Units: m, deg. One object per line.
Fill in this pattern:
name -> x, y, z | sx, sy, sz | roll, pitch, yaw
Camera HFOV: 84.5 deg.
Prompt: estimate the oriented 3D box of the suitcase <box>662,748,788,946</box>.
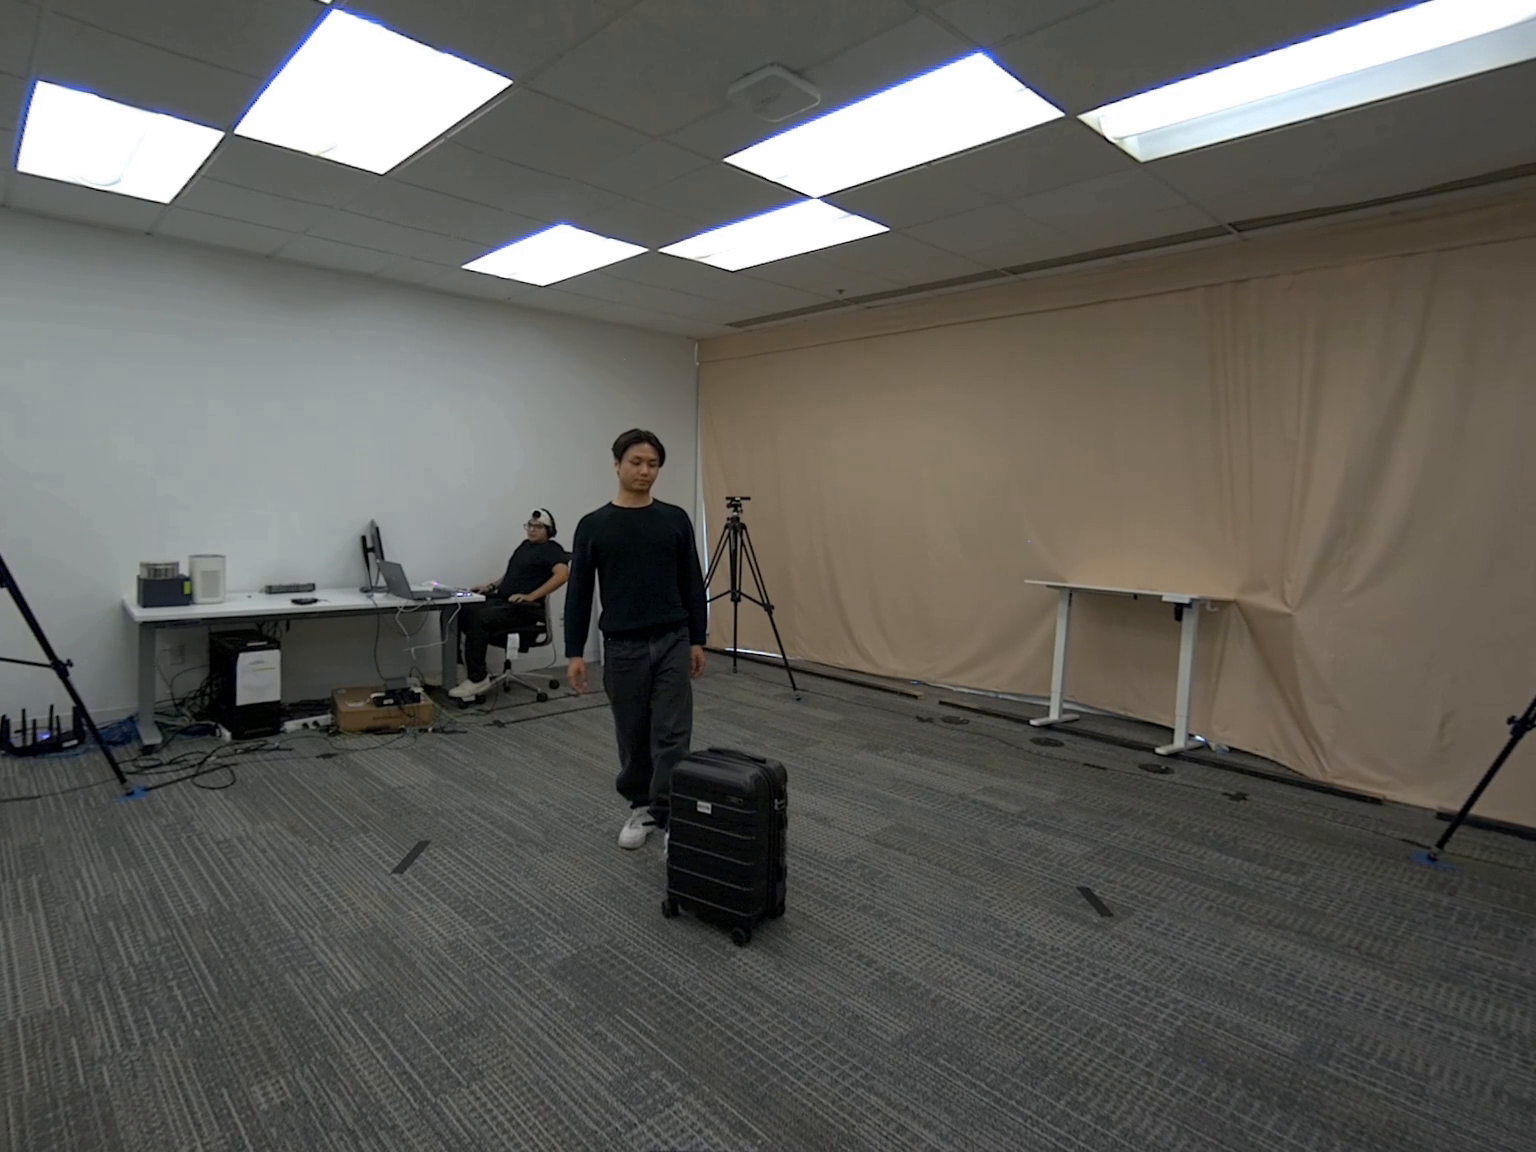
suitcase -> -0.134, 0.864, 2.766 | 0.384, 0.547, 0.243 | 5, 6, 32
